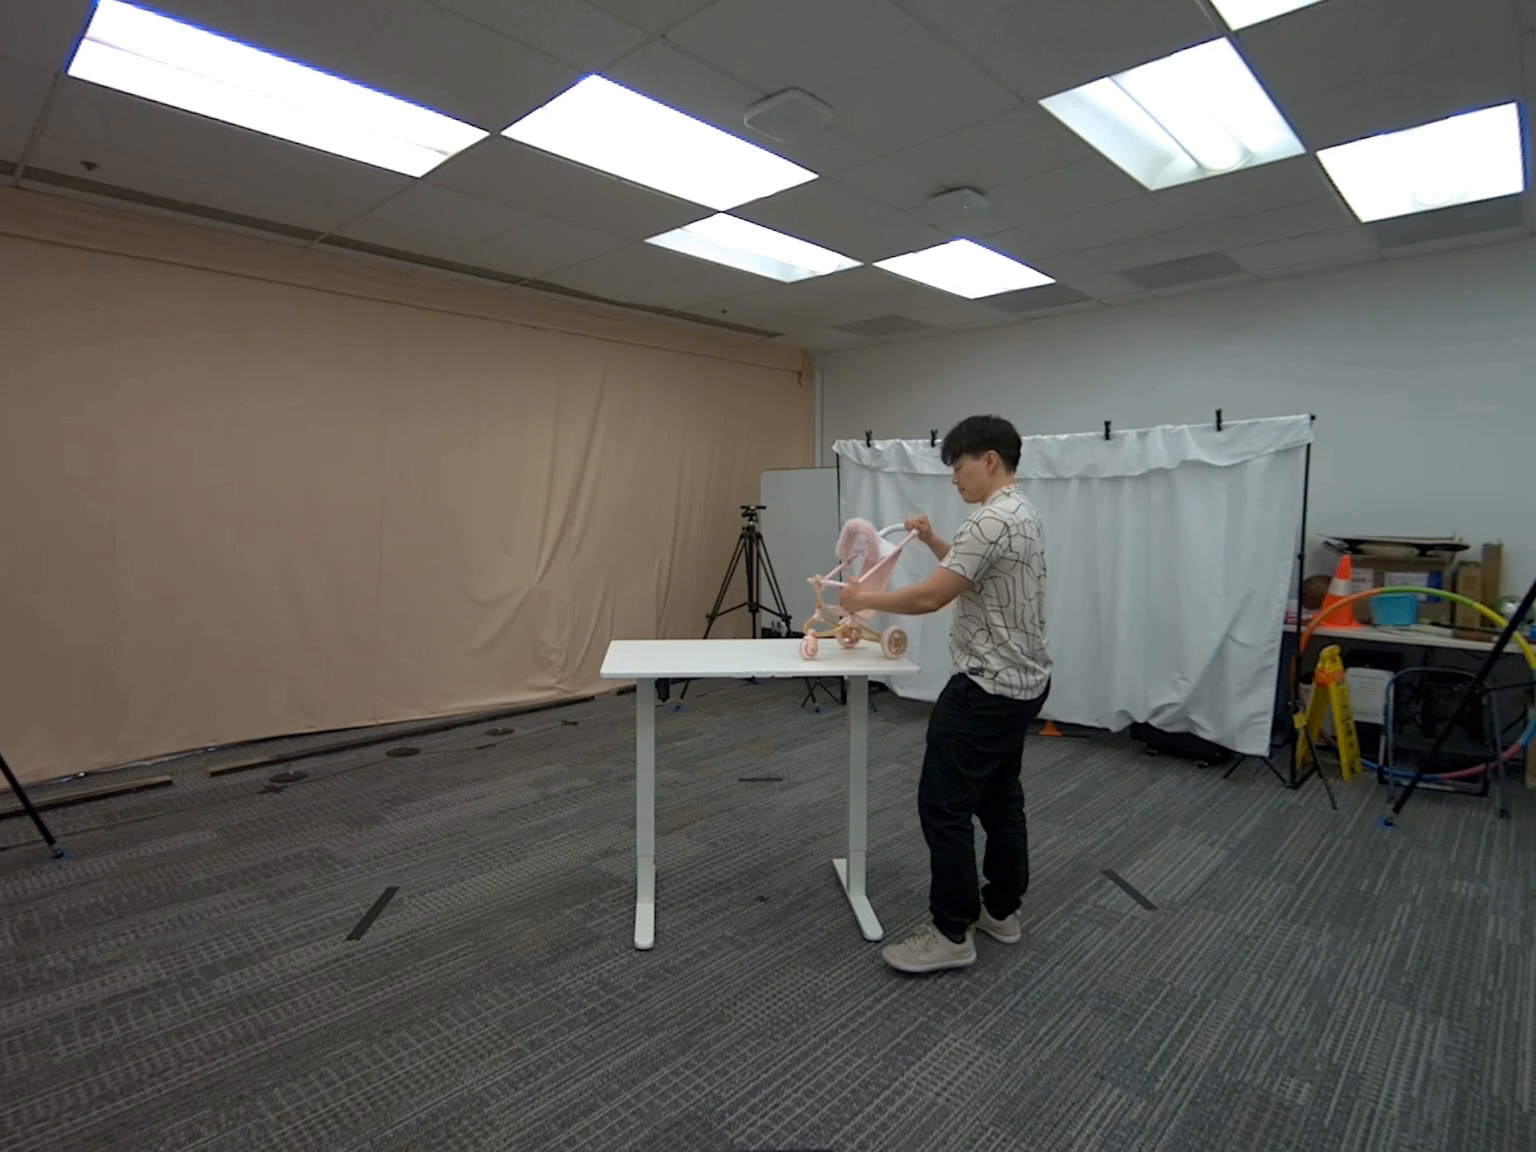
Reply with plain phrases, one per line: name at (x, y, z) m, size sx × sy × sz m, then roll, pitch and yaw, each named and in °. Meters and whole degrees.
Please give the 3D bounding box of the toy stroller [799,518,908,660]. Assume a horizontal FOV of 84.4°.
toy stroller at (0.294, 0.046, 2.871) m, size 0.332 × 0.535 × 0.288 m, roll 14°, pitch -3°, yaw -24°
